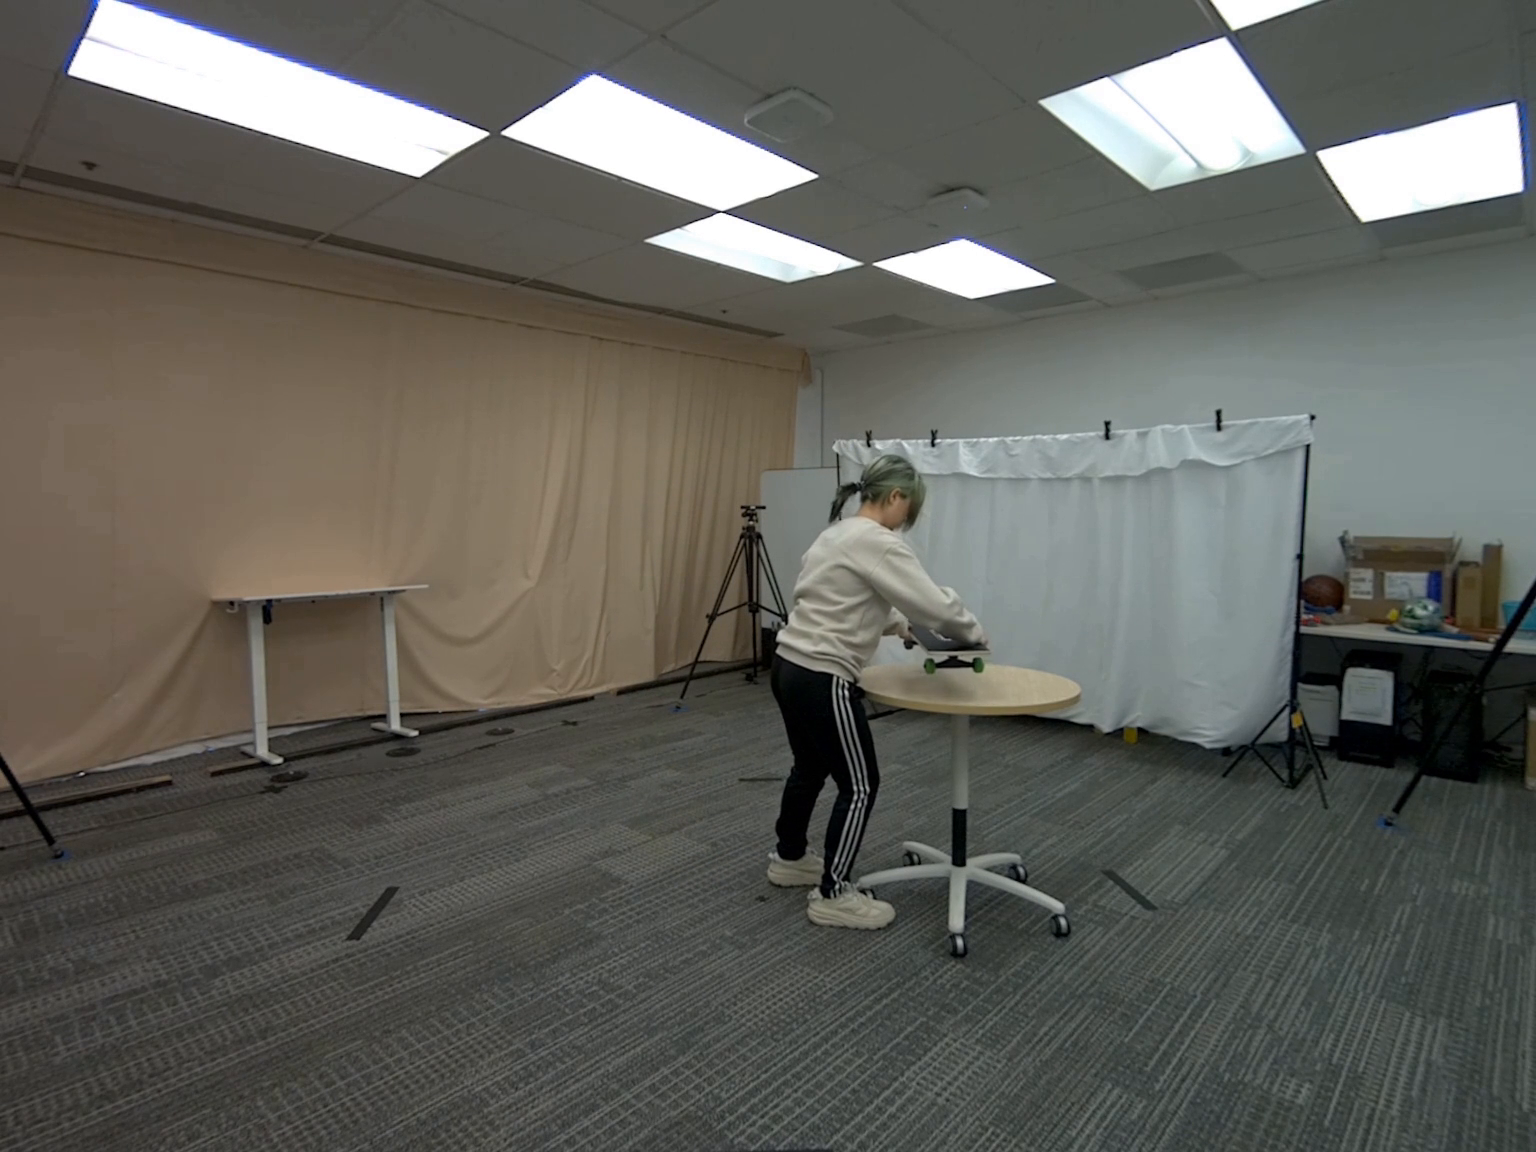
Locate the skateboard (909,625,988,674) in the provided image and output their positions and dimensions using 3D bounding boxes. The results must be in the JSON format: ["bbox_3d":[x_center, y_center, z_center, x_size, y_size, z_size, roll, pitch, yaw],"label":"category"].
[{"bbox_3d":[0.601,0.243,2.898,0.194,0.110,0.785,-1,7,2],"label":"skateboard"}]
